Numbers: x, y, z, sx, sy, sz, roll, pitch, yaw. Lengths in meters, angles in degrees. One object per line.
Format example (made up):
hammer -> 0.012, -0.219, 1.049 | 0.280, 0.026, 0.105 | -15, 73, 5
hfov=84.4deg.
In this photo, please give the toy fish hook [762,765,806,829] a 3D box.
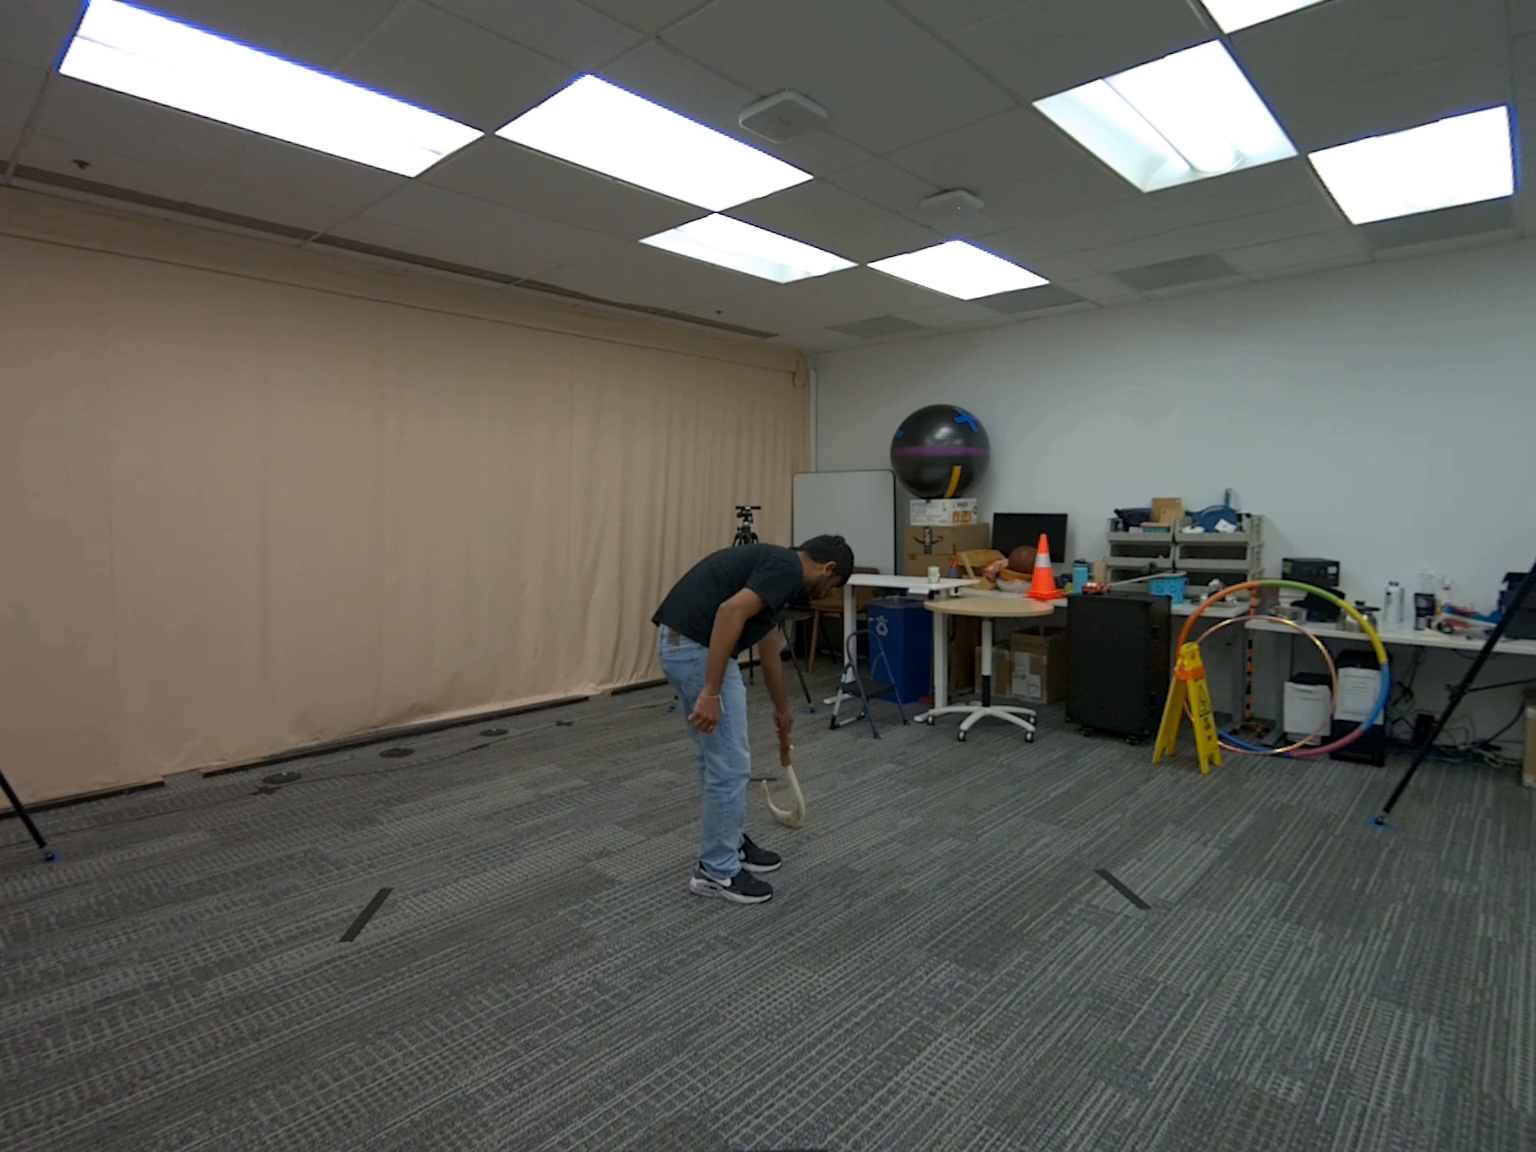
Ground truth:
toy fish hook -> 0.069, 0.846, 3.607 | 0.232, 0.502, 0.047 | 3, 16, 36
